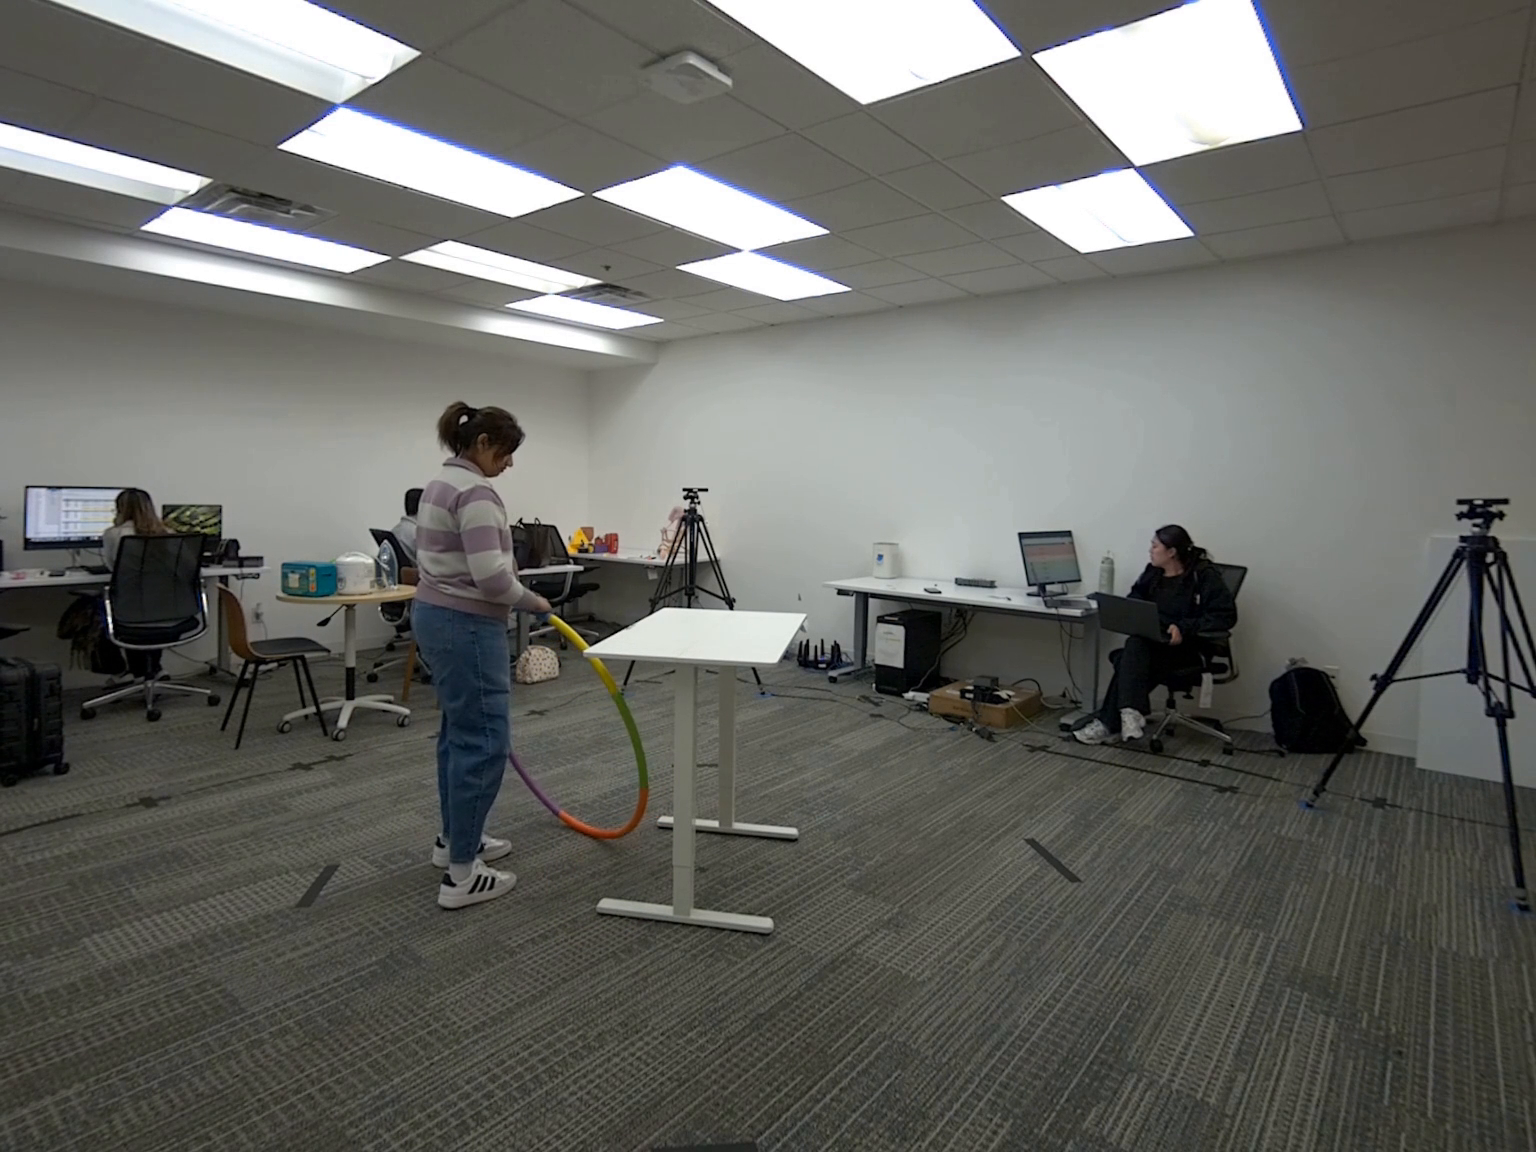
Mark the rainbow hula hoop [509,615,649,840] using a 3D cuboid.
[{"bbox_3d":[-0.826,0.573,3.282,1.012,0.961,0.035,5,22,42],"label":"rainbow hula hoop"}]
